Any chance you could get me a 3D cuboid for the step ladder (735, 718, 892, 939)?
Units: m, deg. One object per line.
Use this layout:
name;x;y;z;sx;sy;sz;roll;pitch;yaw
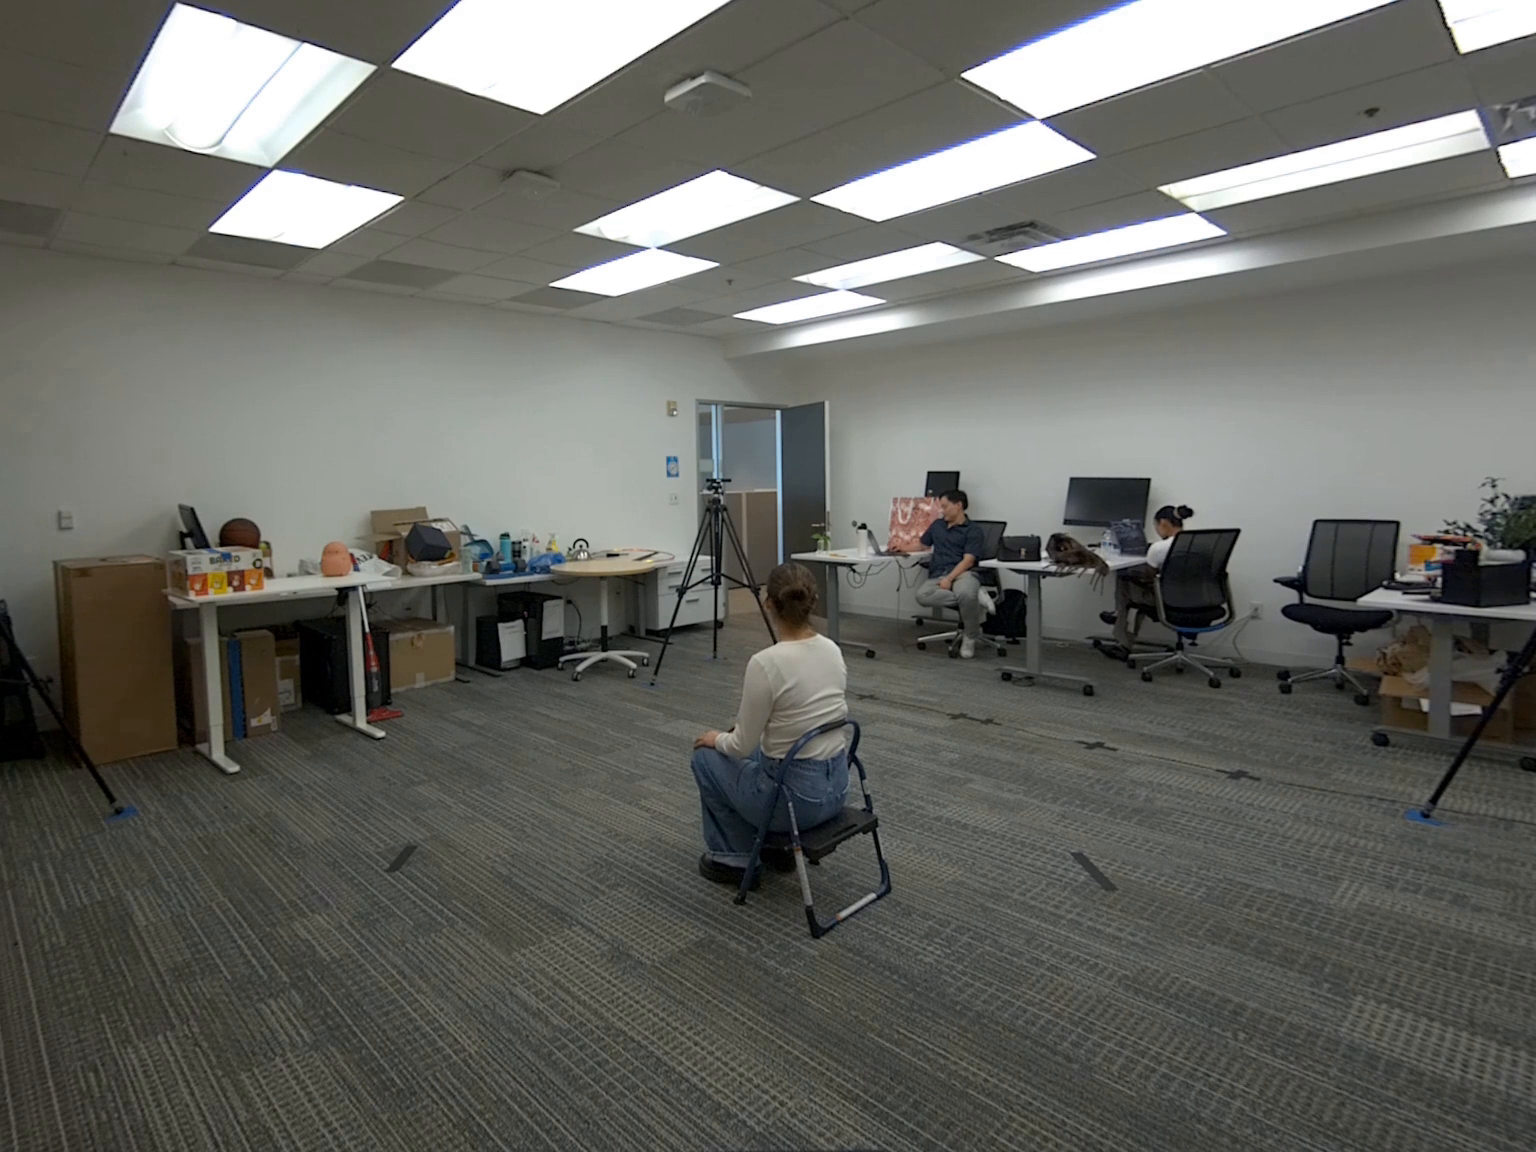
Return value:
step ladder;0.153;0.768;2.827;0.360;0.604;0.419;3;6;42
